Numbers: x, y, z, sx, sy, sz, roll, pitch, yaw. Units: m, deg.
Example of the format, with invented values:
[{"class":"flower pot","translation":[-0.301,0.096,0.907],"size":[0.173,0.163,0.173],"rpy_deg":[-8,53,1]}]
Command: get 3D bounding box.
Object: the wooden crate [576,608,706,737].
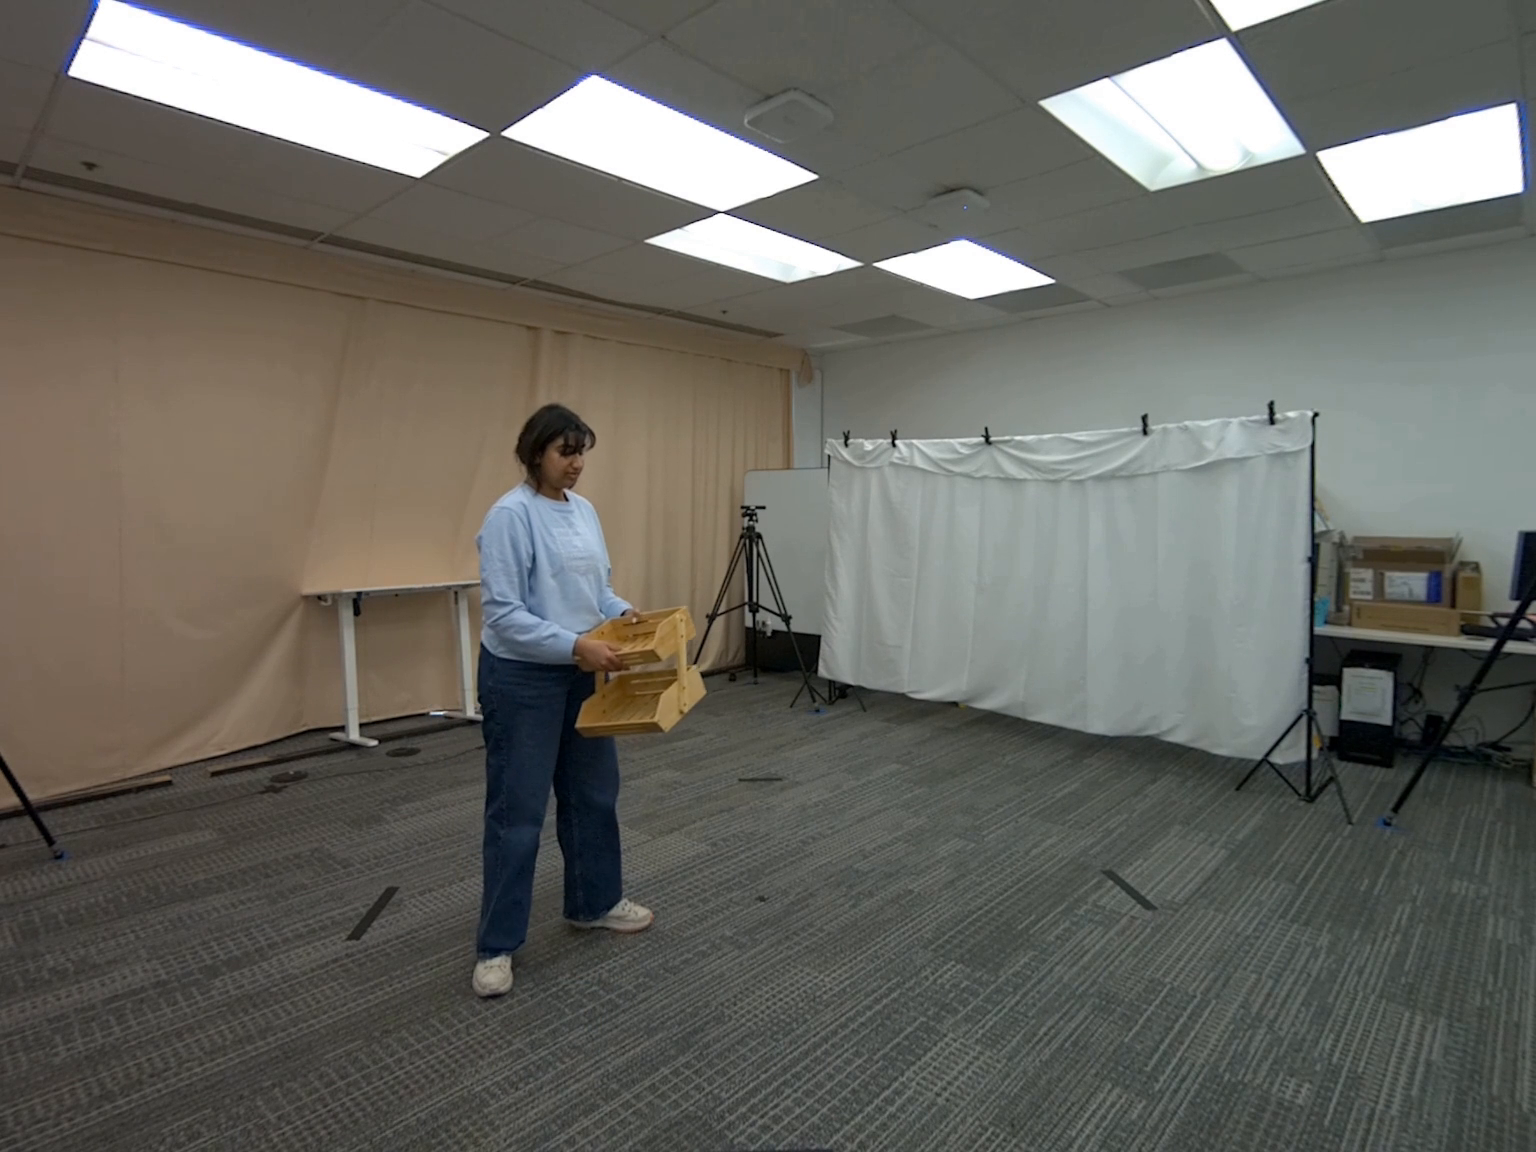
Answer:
[{"class":"wooden crate","translation":[-0.388,0.279,2.440],"size":[0.333,0.270,0.297],"rpy_deg":[-10,14,31]}]
